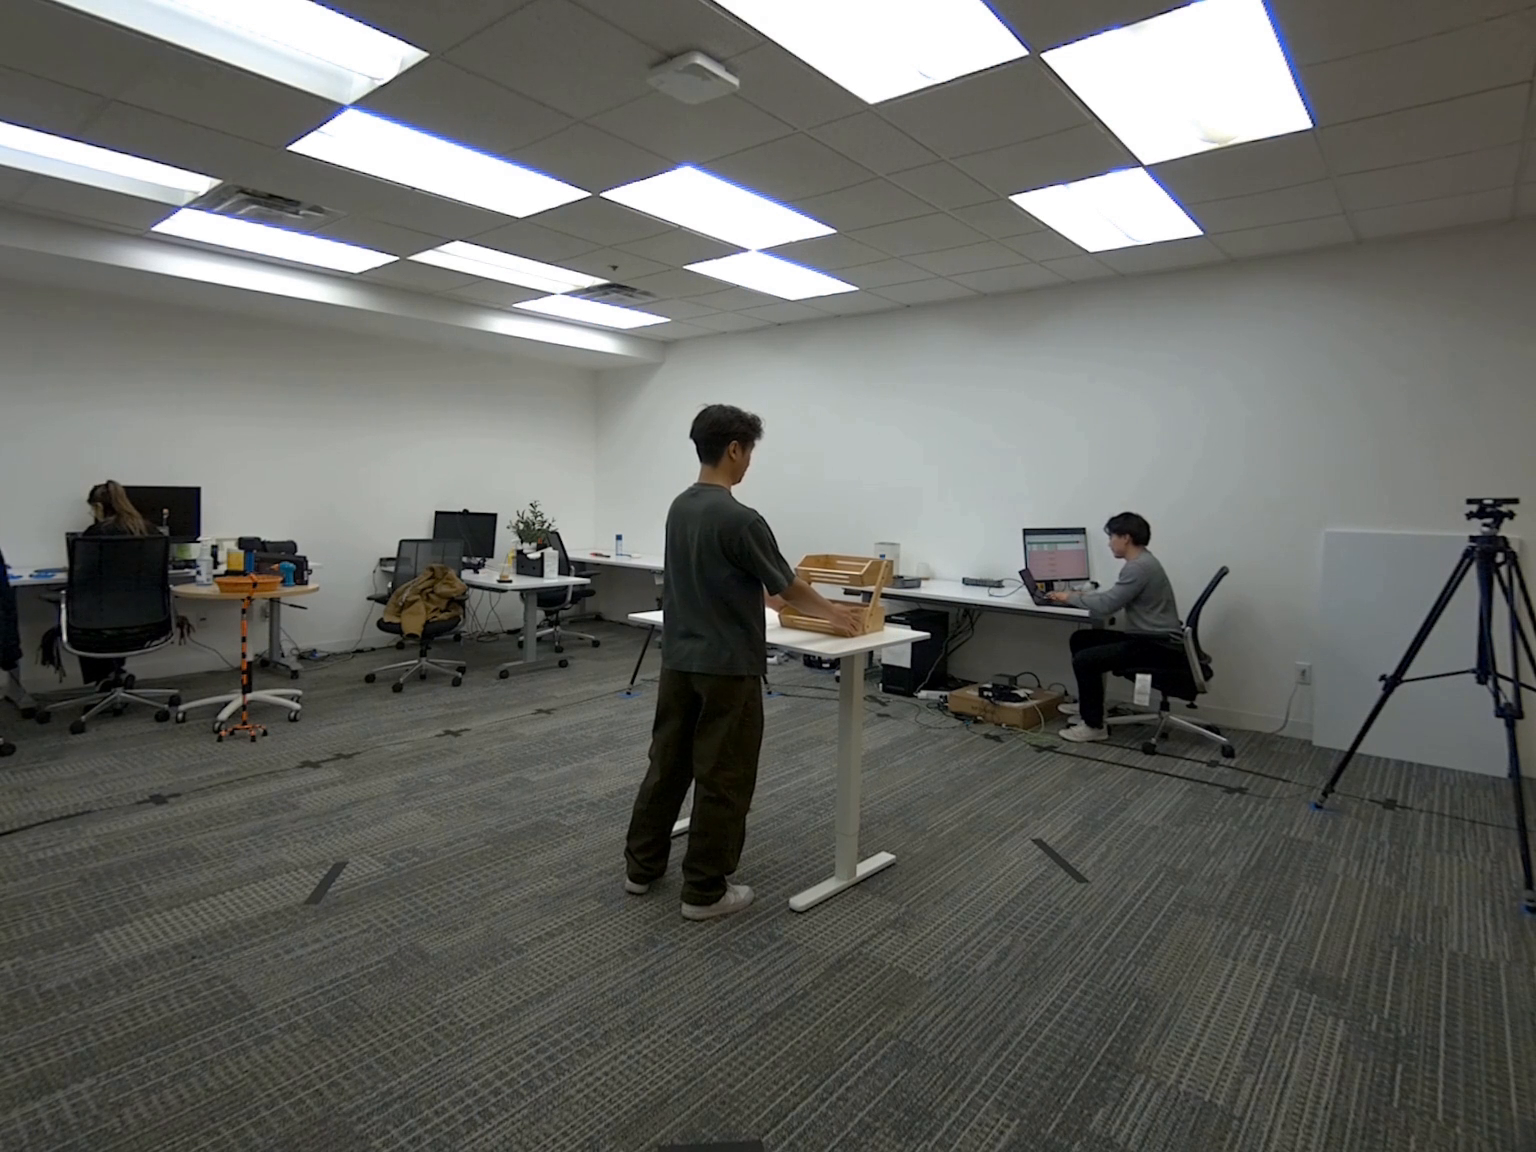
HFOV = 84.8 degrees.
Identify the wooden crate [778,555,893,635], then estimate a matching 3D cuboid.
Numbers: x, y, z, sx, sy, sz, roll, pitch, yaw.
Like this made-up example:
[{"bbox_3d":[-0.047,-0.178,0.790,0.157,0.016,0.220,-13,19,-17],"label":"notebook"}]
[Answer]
[{"bbox_3d":[0.244,0.056,3.151,0.335,0.272,0.293,6,6,40],"label":"wooden crate"}]
